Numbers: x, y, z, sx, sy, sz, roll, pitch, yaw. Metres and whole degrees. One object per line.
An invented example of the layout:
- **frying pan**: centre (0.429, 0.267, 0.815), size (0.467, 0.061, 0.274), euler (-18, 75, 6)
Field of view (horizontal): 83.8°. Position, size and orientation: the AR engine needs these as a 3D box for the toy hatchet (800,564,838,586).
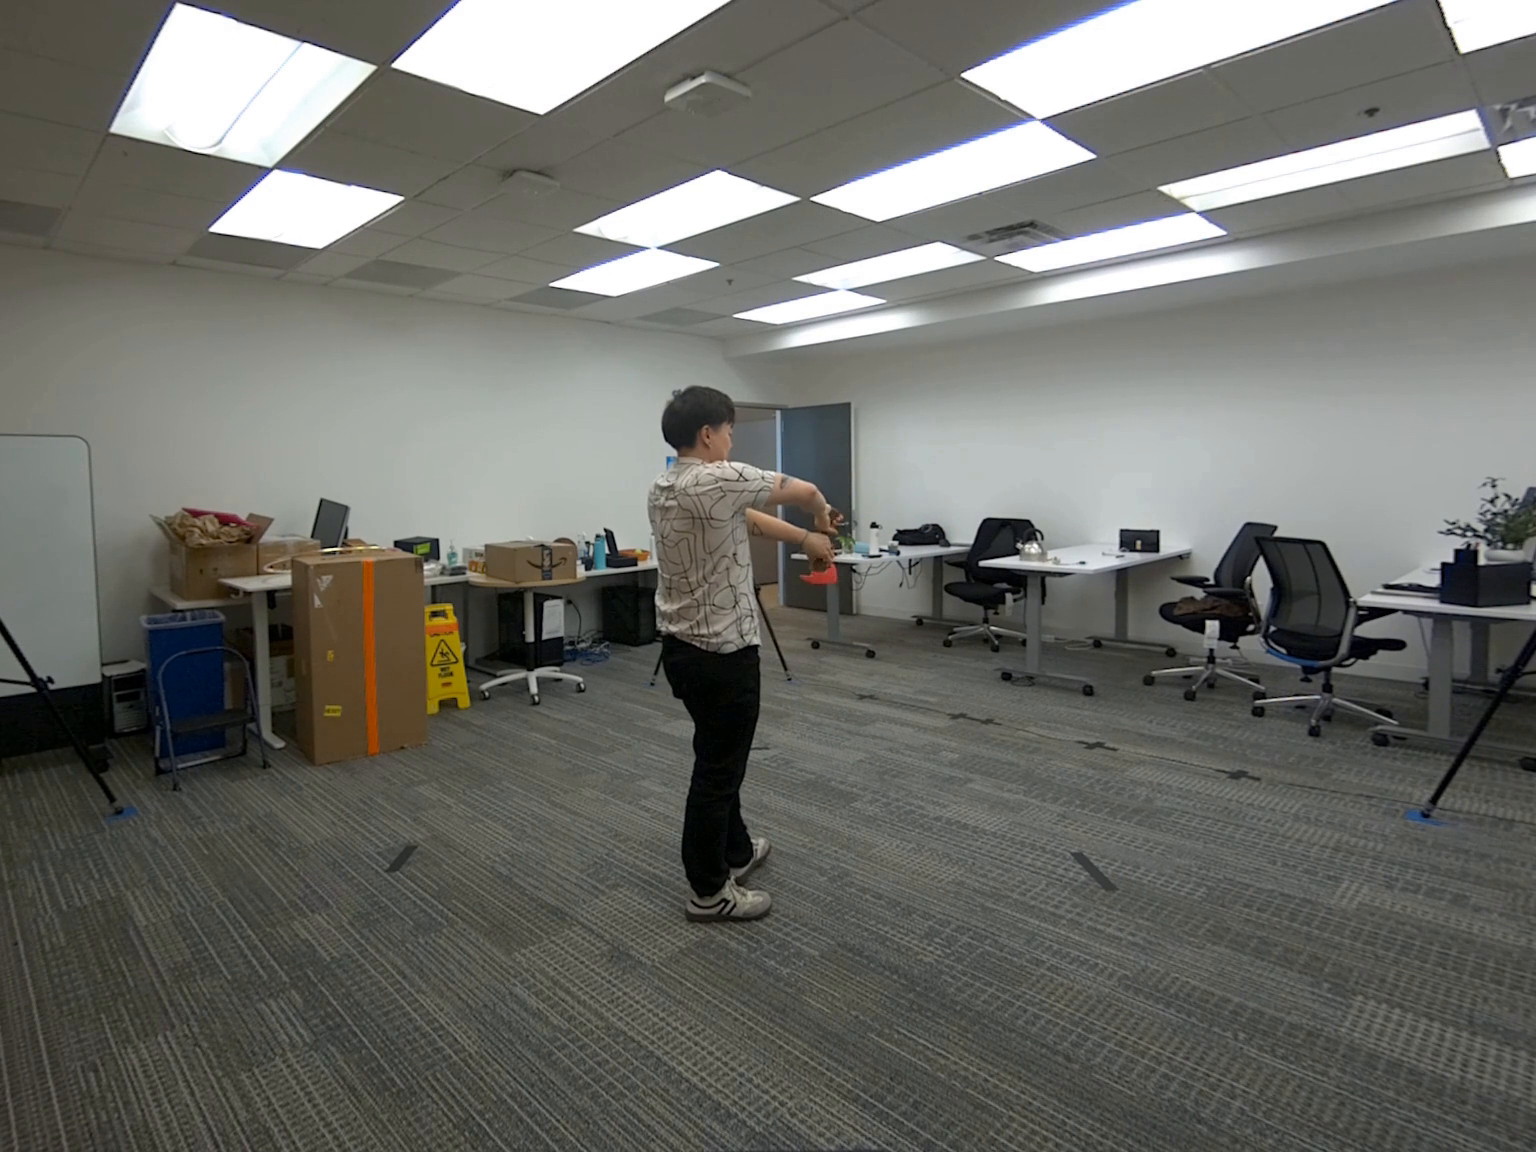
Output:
- **toy hatchet**: centre (0.230, -0.097, 2.940), size (0.129, 0.270, 0.030), euler (24, -3, -10)
